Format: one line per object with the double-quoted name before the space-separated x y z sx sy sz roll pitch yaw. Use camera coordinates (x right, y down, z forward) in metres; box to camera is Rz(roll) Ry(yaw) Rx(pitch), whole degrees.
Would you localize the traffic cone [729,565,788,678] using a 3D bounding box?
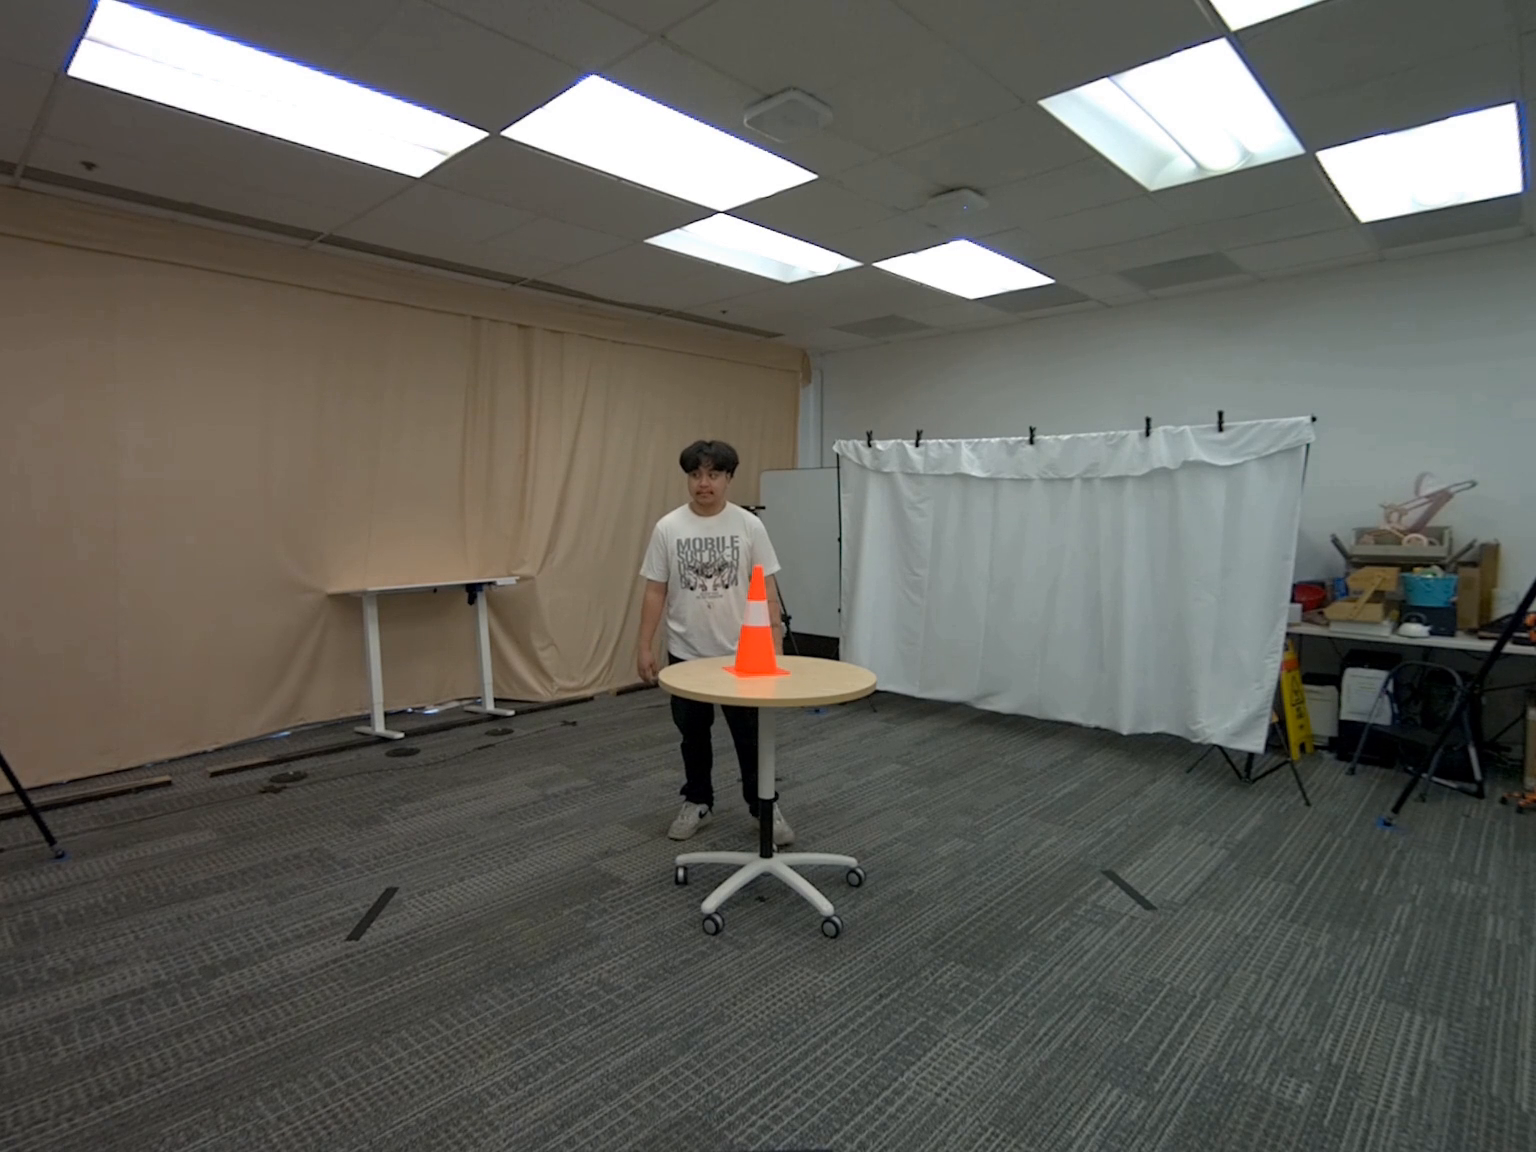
"traffic cone" -0.038 0.156 3.038 0.200 0.383 0.209 0 4 -28
